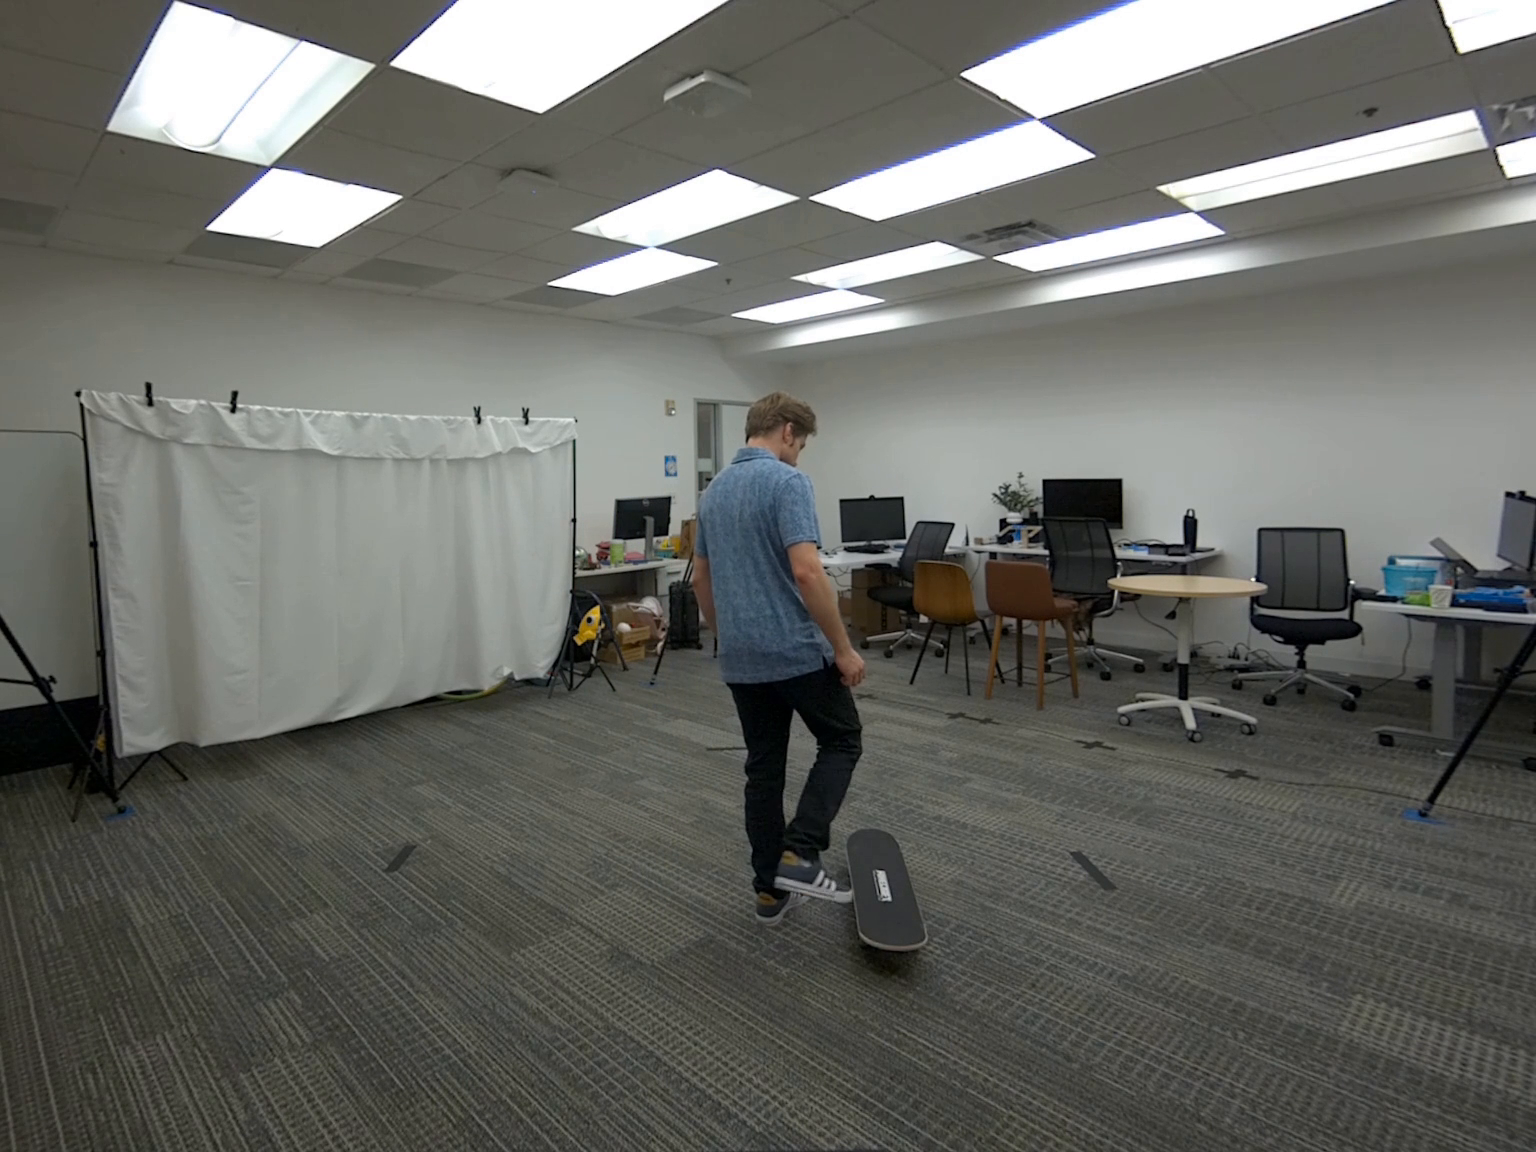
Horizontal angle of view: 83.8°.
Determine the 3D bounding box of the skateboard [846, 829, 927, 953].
[{"bbox_3d":[0.371,1.023,2.734,0.194,0.110,0.787,-1,7,2],"label":"skateboard"}]
